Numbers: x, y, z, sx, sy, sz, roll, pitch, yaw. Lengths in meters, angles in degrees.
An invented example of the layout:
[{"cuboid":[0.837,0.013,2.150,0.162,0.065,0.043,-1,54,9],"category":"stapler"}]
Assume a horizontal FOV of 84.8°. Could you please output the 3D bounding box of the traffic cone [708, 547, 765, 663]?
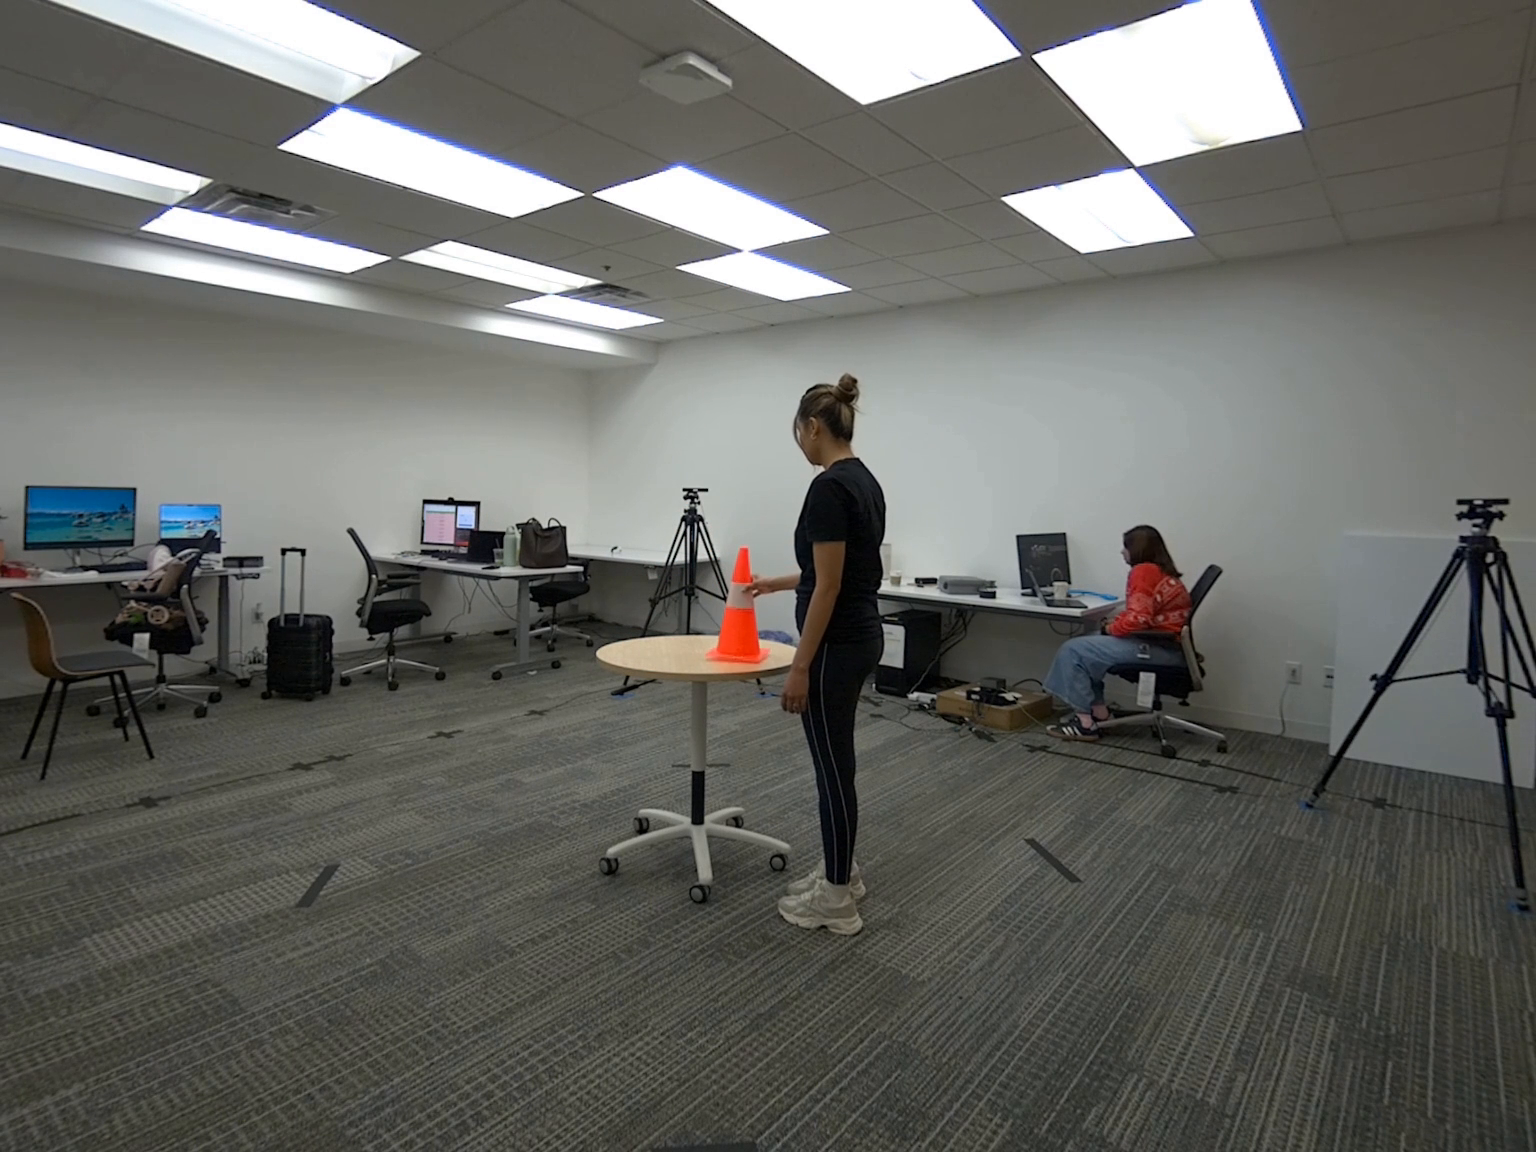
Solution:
[{"cuboid":[-0.105,0.084,3.040,0.208,0.382,0.201,4,5,12],"category":"traffic cone"}]
